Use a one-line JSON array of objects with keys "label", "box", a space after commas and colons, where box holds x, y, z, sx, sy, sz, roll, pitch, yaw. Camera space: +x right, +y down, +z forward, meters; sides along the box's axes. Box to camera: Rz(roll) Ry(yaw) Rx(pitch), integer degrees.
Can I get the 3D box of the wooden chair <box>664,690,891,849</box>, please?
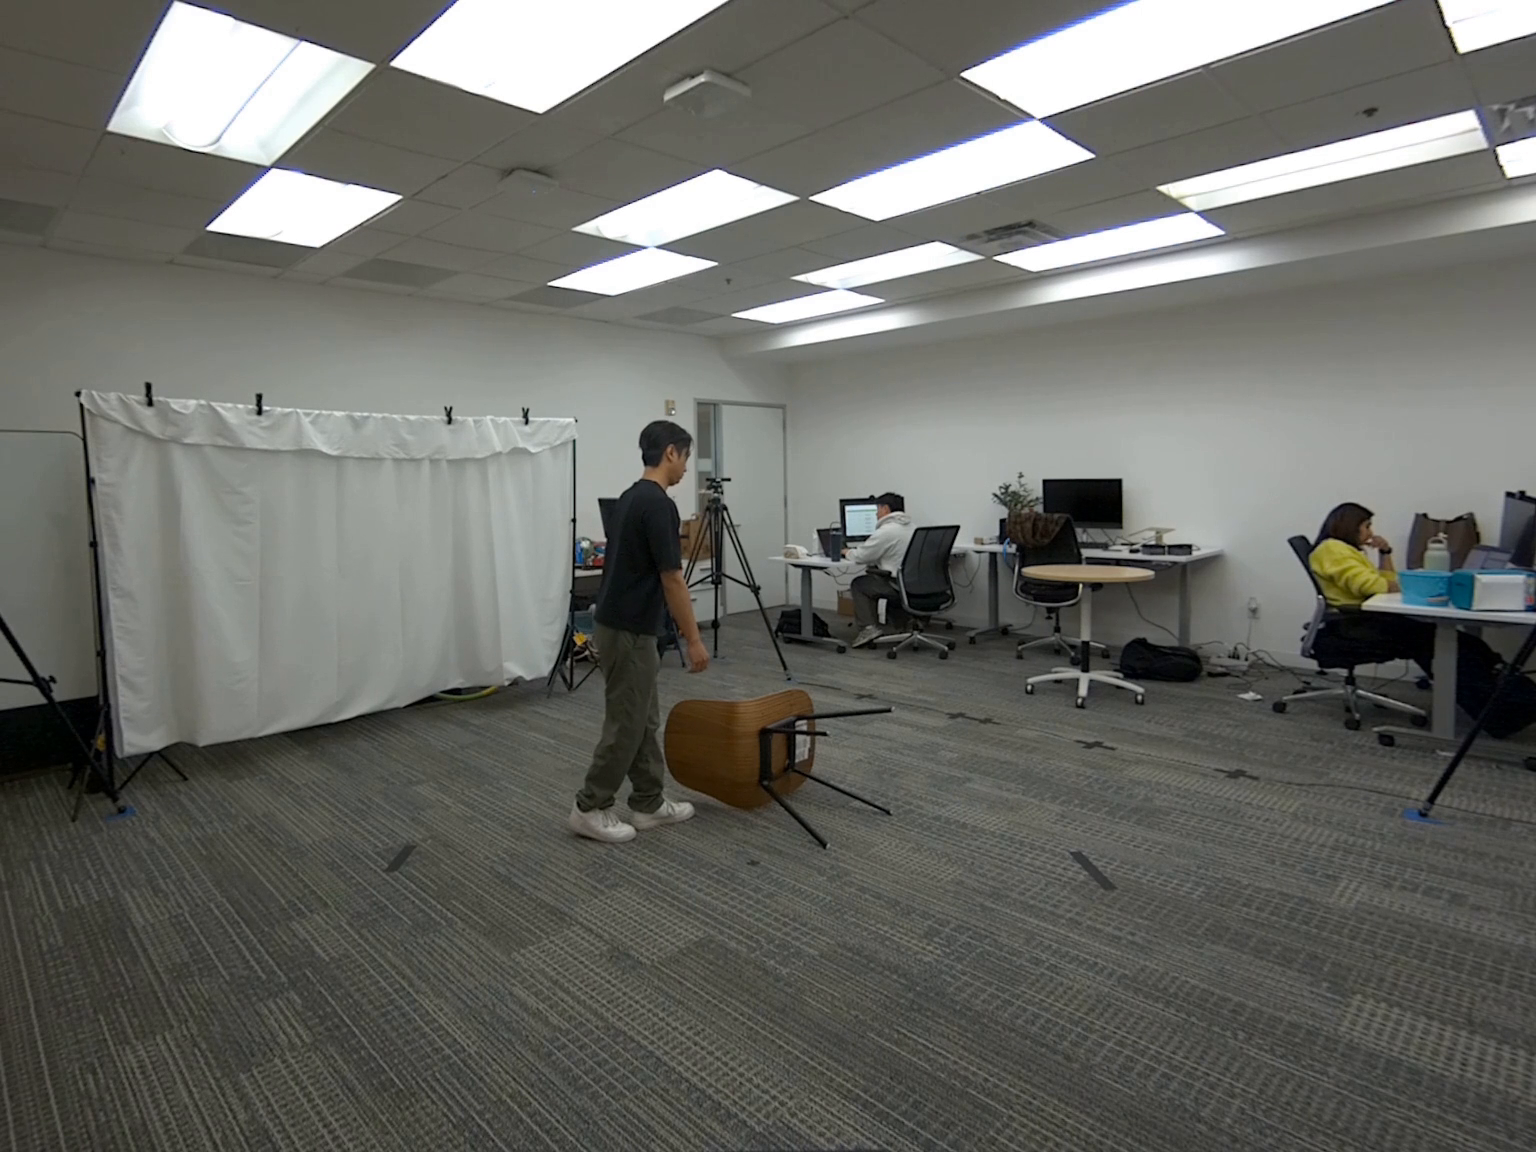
[{"label": "wooden chair", "box": [0.050, 0.749, 3.647, 0.904, 0.476, 0.510, 4, 8, 37]}]
